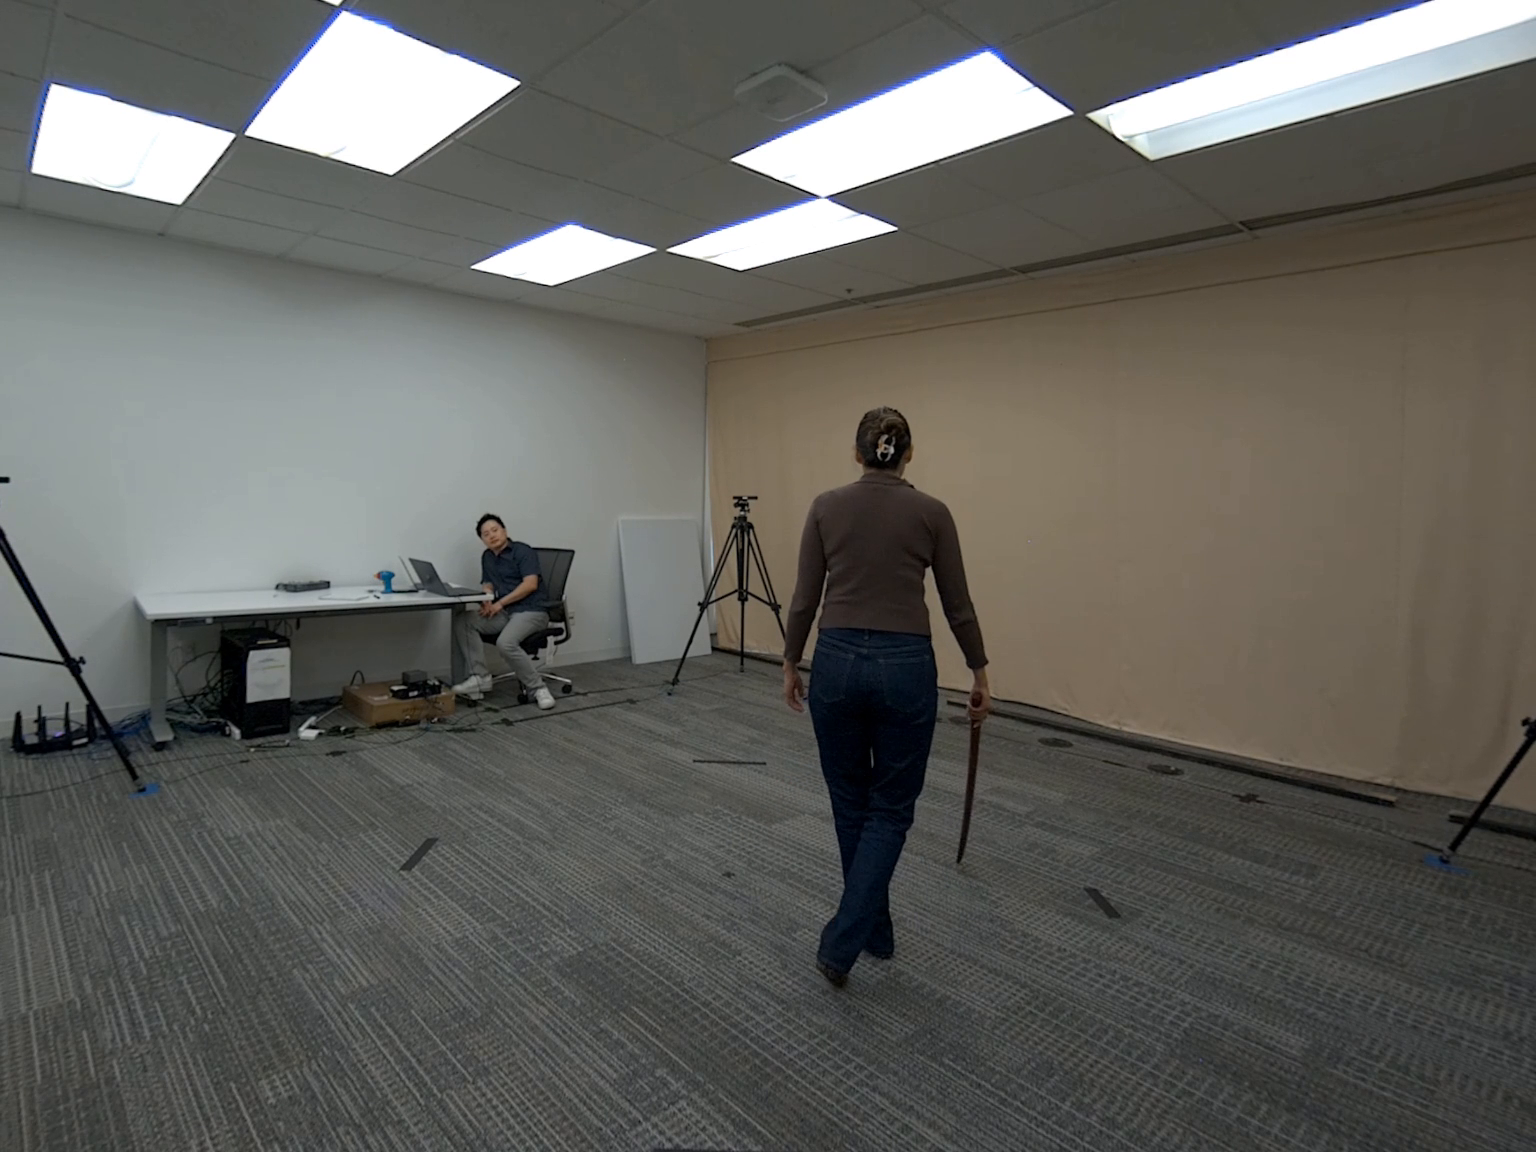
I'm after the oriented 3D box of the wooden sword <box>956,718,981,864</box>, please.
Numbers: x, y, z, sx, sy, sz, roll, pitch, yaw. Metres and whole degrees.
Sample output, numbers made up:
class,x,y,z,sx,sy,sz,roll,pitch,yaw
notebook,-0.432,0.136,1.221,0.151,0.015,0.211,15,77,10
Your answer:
class,x,y,z,sx,sy,sz,roll,pitch,yaw
wooden sword,0.685,0.737,2.947,0.051,0.999,0.025,-26,45,-19
